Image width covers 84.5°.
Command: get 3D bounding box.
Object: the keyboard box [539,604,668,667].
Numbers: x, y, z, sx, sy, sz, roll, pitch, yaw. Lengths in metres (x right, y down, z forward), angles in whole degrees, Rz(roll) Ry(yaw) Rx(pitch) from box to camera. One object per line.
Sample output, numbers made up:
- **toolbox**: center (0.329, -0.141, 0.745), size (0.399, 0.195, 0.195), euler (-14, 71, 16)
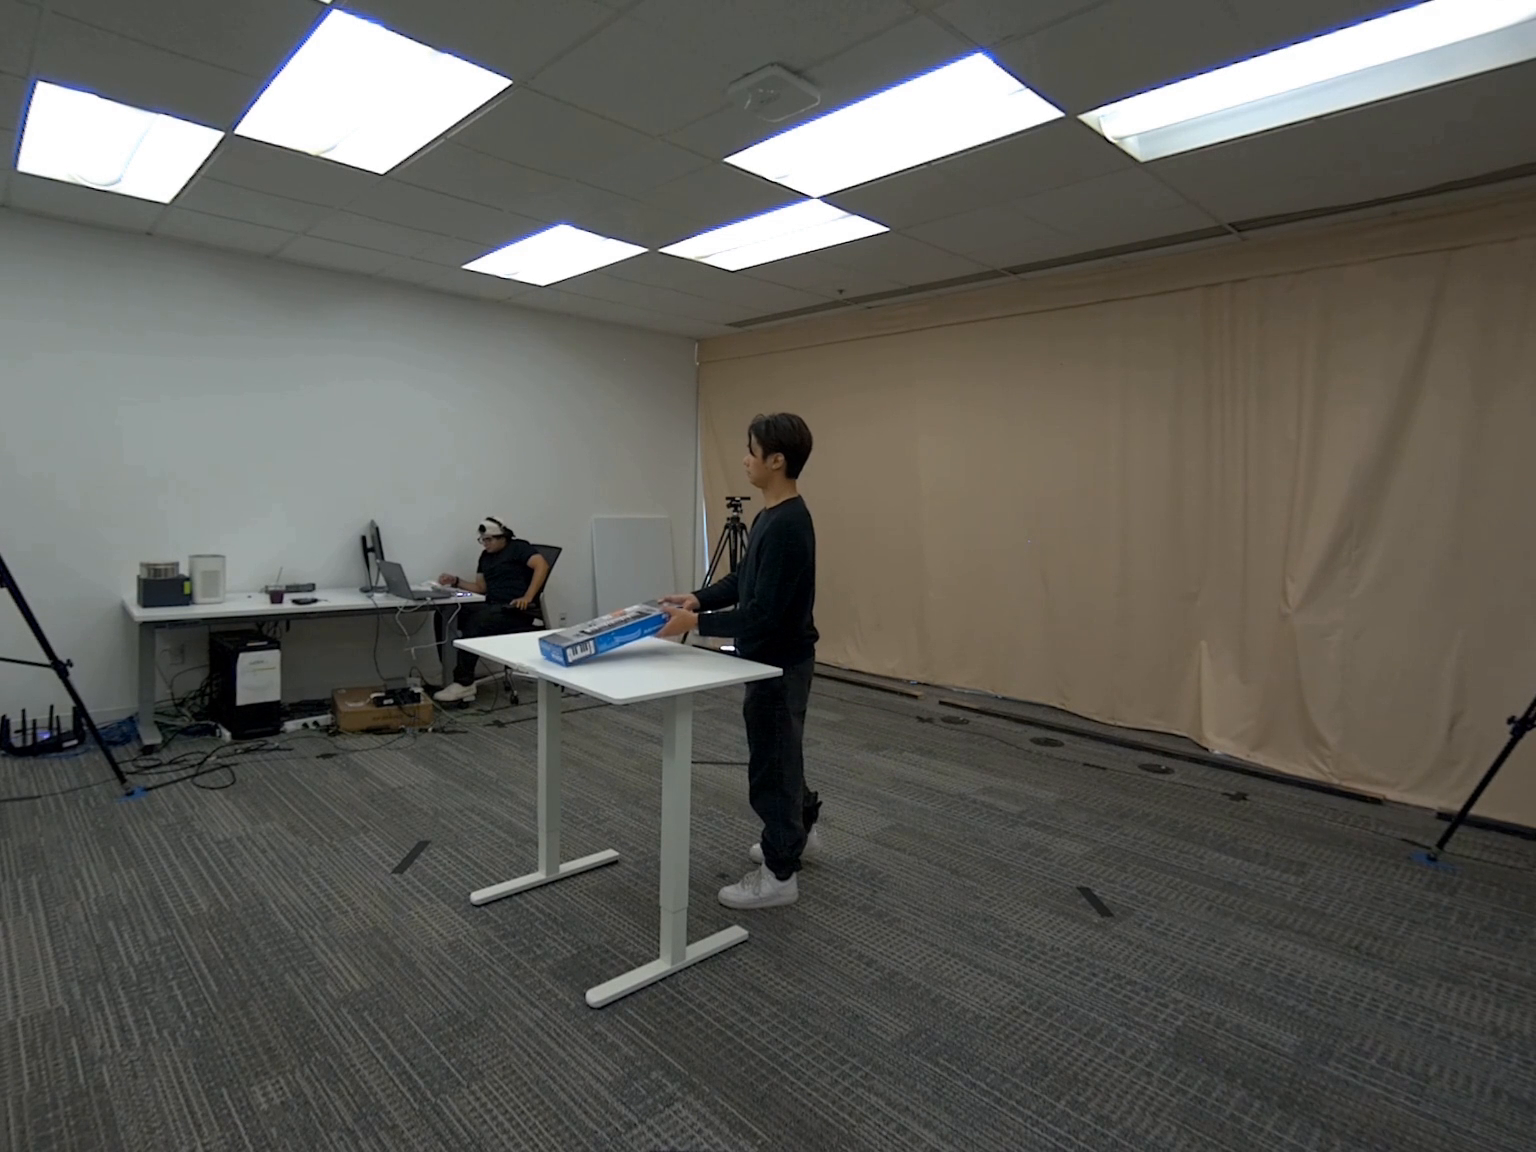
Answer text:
- **keyboard box**: center (-0.493, 0.168, 2.675), size (0.430, 0.058, 0.180), euler (-18, 17, -35)
